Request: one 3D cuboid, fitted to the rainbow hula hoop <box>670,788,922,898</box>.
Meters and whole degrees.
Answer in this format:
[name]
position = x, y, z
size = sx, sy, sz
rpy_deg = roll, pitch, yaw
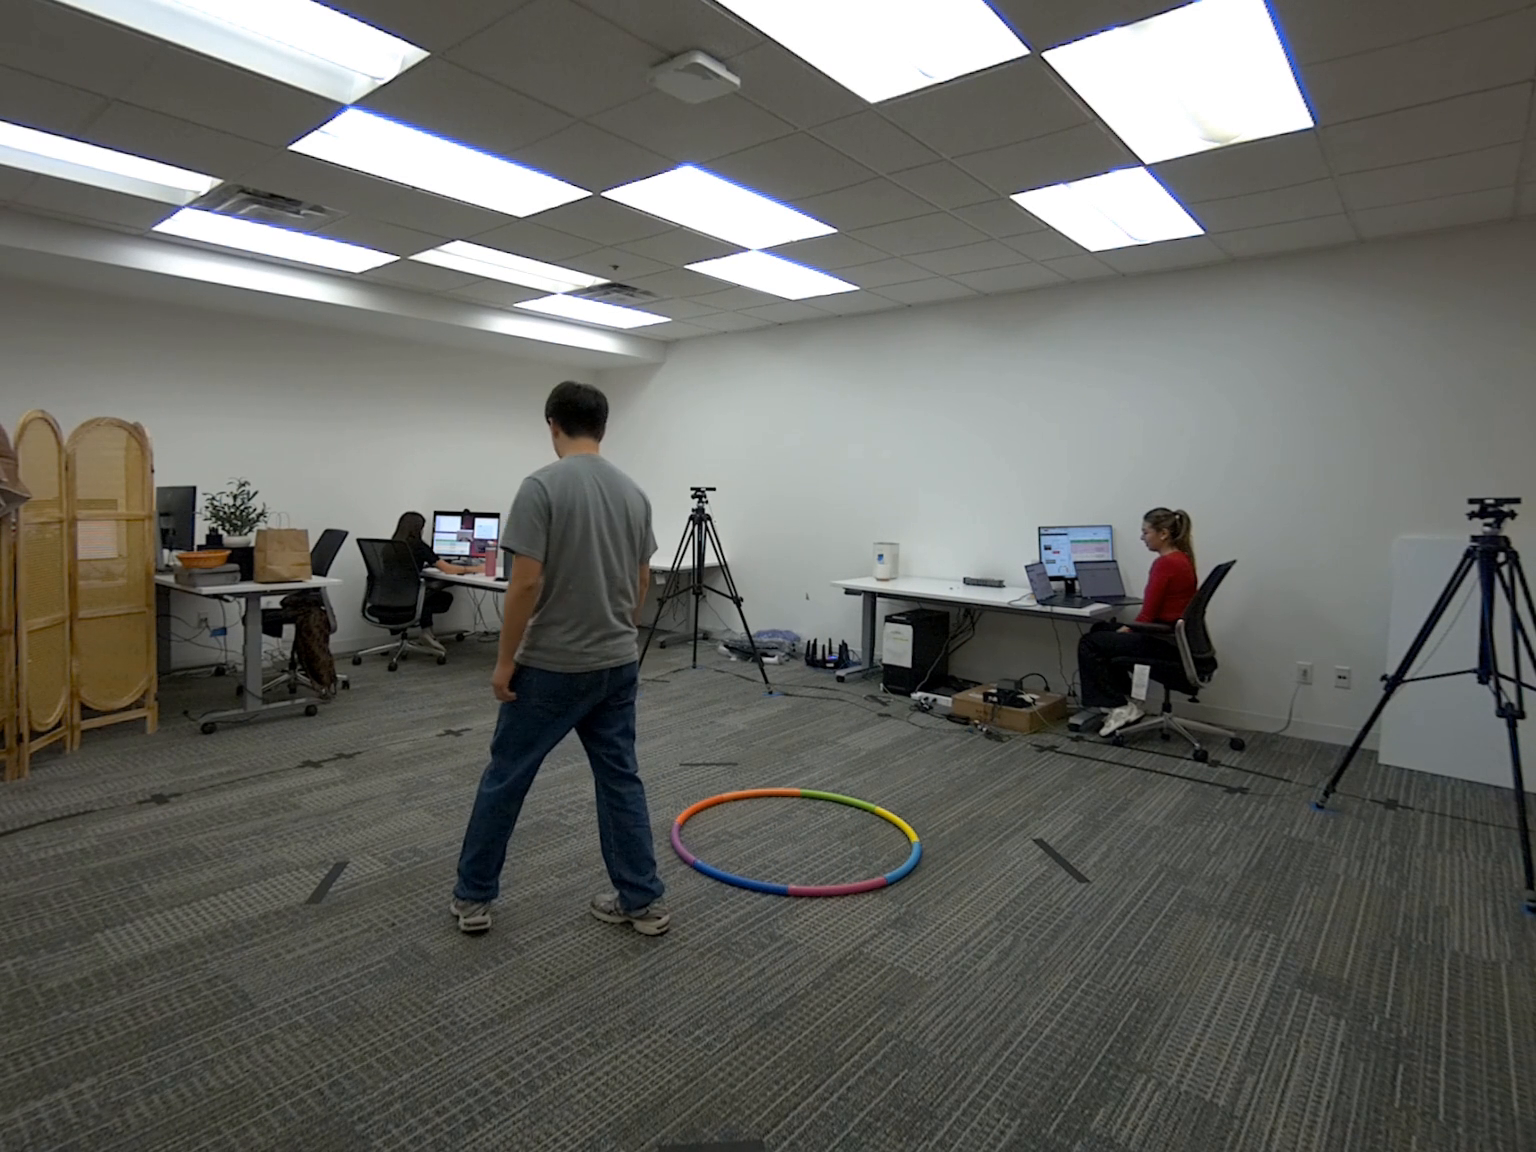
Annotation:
[rainbow hula hoop]
position = 0.096, 1.018, 3.381
size = 0.978, 0.035, 0.984
rpy_deg = 1, 6, -2
